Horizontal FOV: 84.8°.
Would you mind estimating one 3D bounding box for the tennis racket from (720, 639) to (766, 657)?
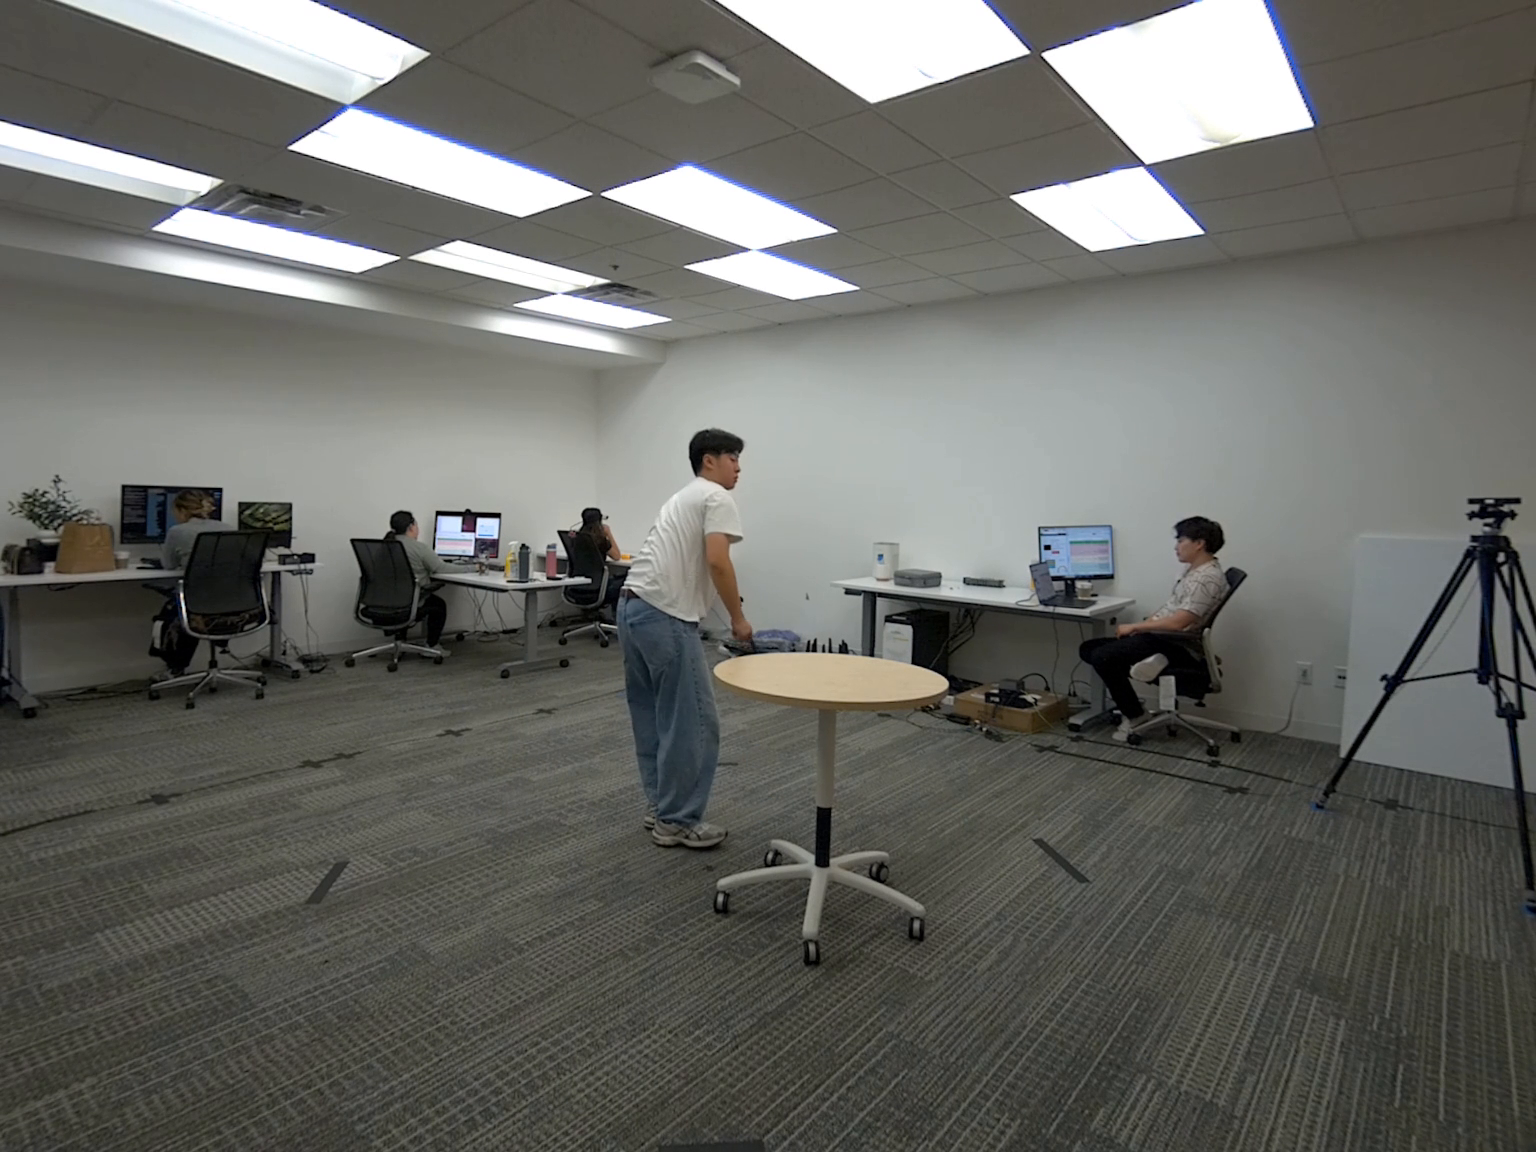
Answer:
[{"bbox_3d":[-0.048,0.306,3.532,0.222,0.032,0.415,36,-7,35],"label":"tennis racket"}]
